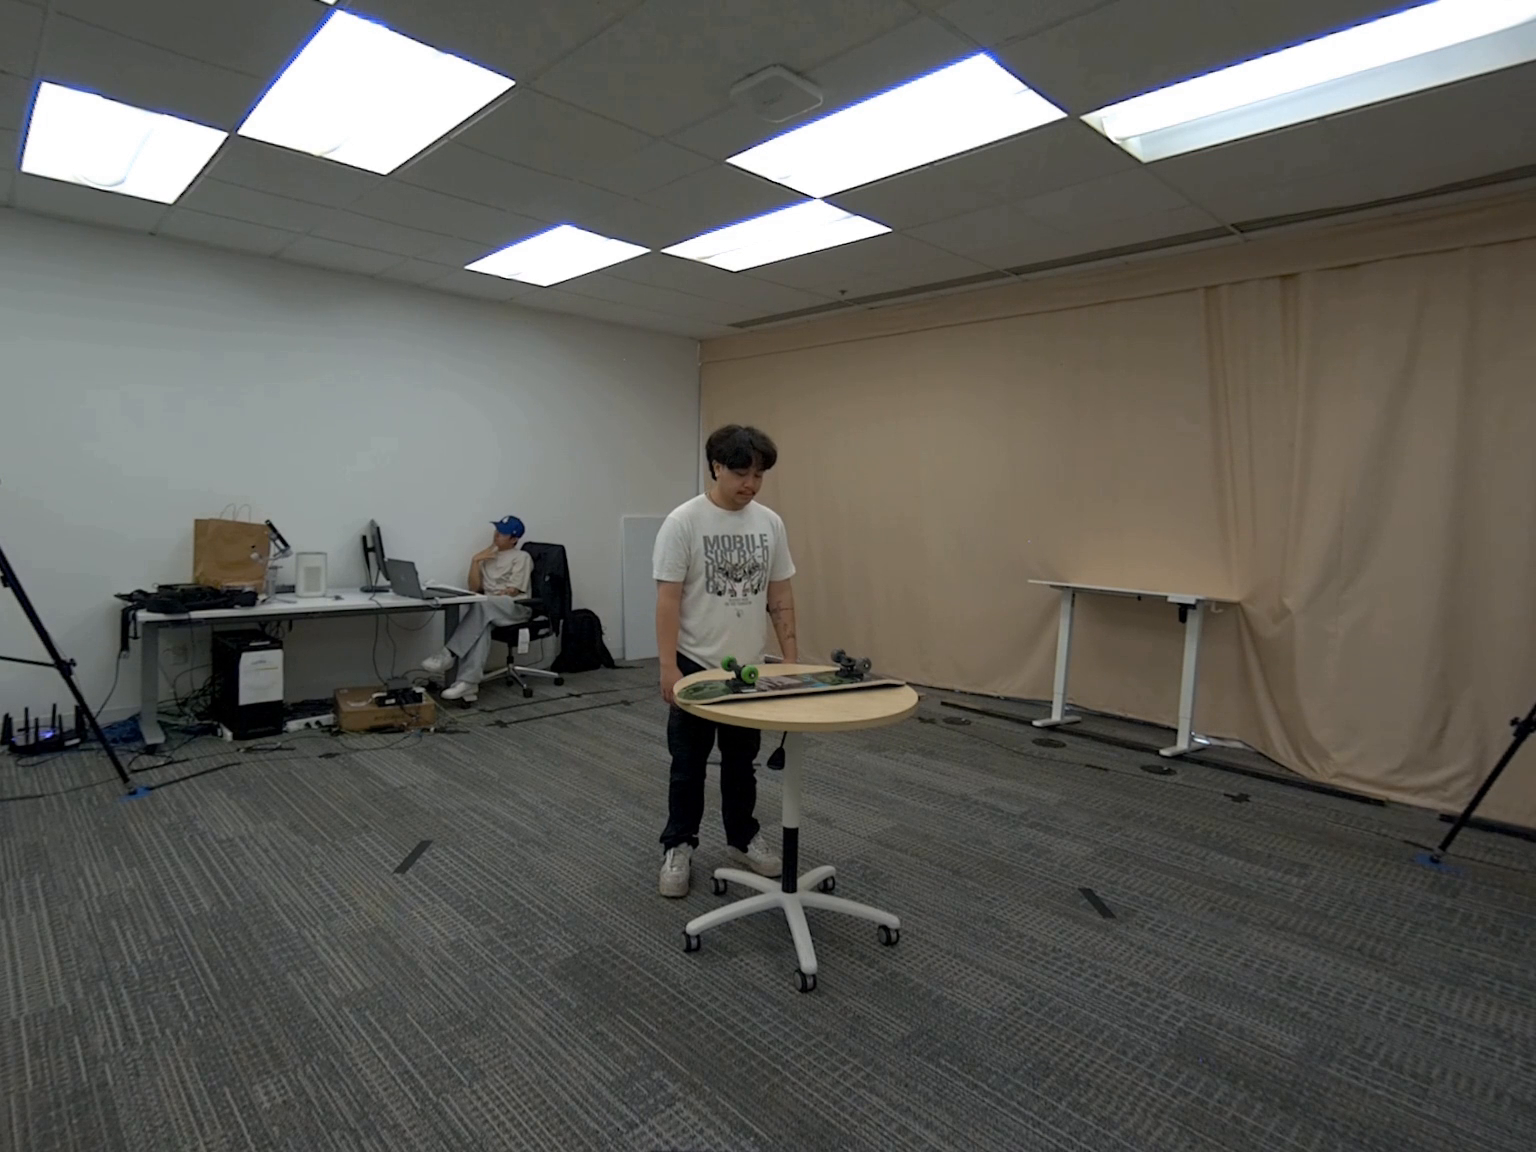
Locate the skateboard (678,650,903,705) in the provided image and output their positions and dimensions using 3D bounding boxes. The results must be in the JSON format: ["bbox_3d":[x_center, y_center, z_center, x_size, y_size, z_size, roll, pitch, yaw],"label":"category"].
[{"bbox_3d":[0.082,0.313,2.636,0.772,0.110,0.197,-1,6,-24],"label":"skateboard"}]
